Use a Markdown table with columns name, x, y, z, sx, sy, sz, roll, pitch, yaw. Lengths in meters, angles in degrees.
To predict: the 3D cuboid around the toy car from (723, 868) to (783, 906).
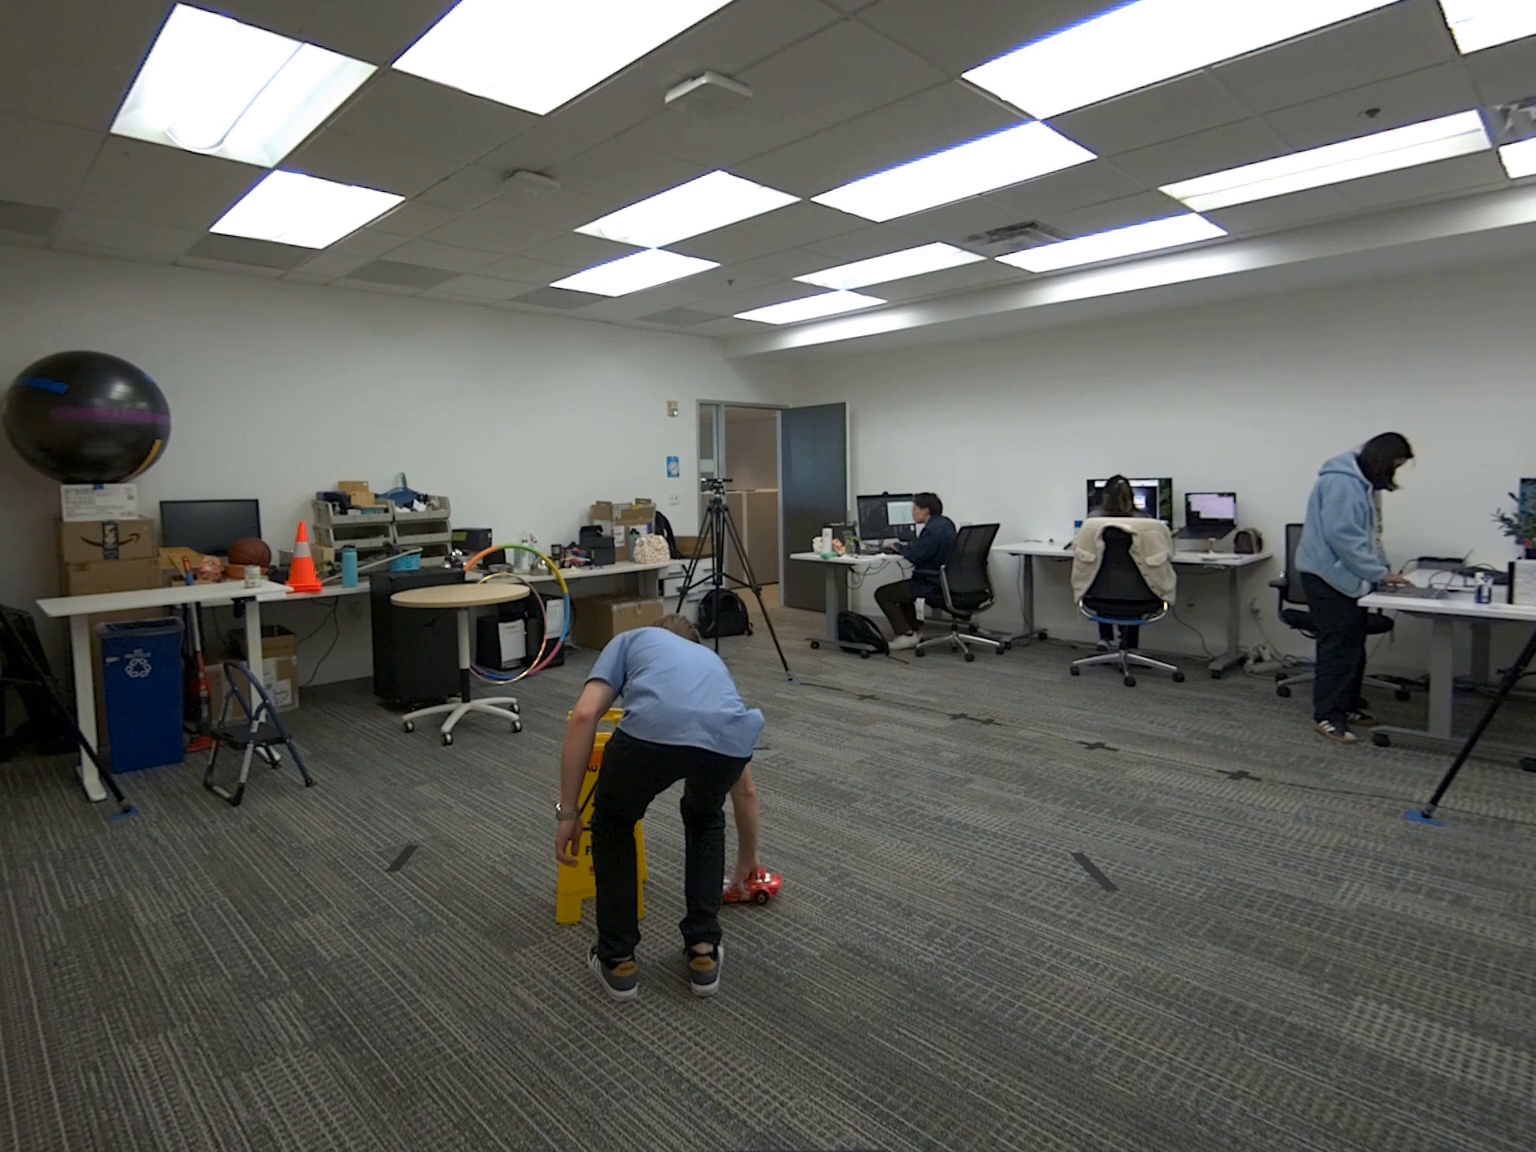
| name | x | y | z | sx | sy | sz | roll | pitch | yaw |
| --- | --- | --- | --- | --- | --- | --- | --- | --- | --- |
| toy car | -0.077 | 1.032 | 2.835 | 0.255 | 0.083 | 0.131 | -14 | 7 | 3 |
